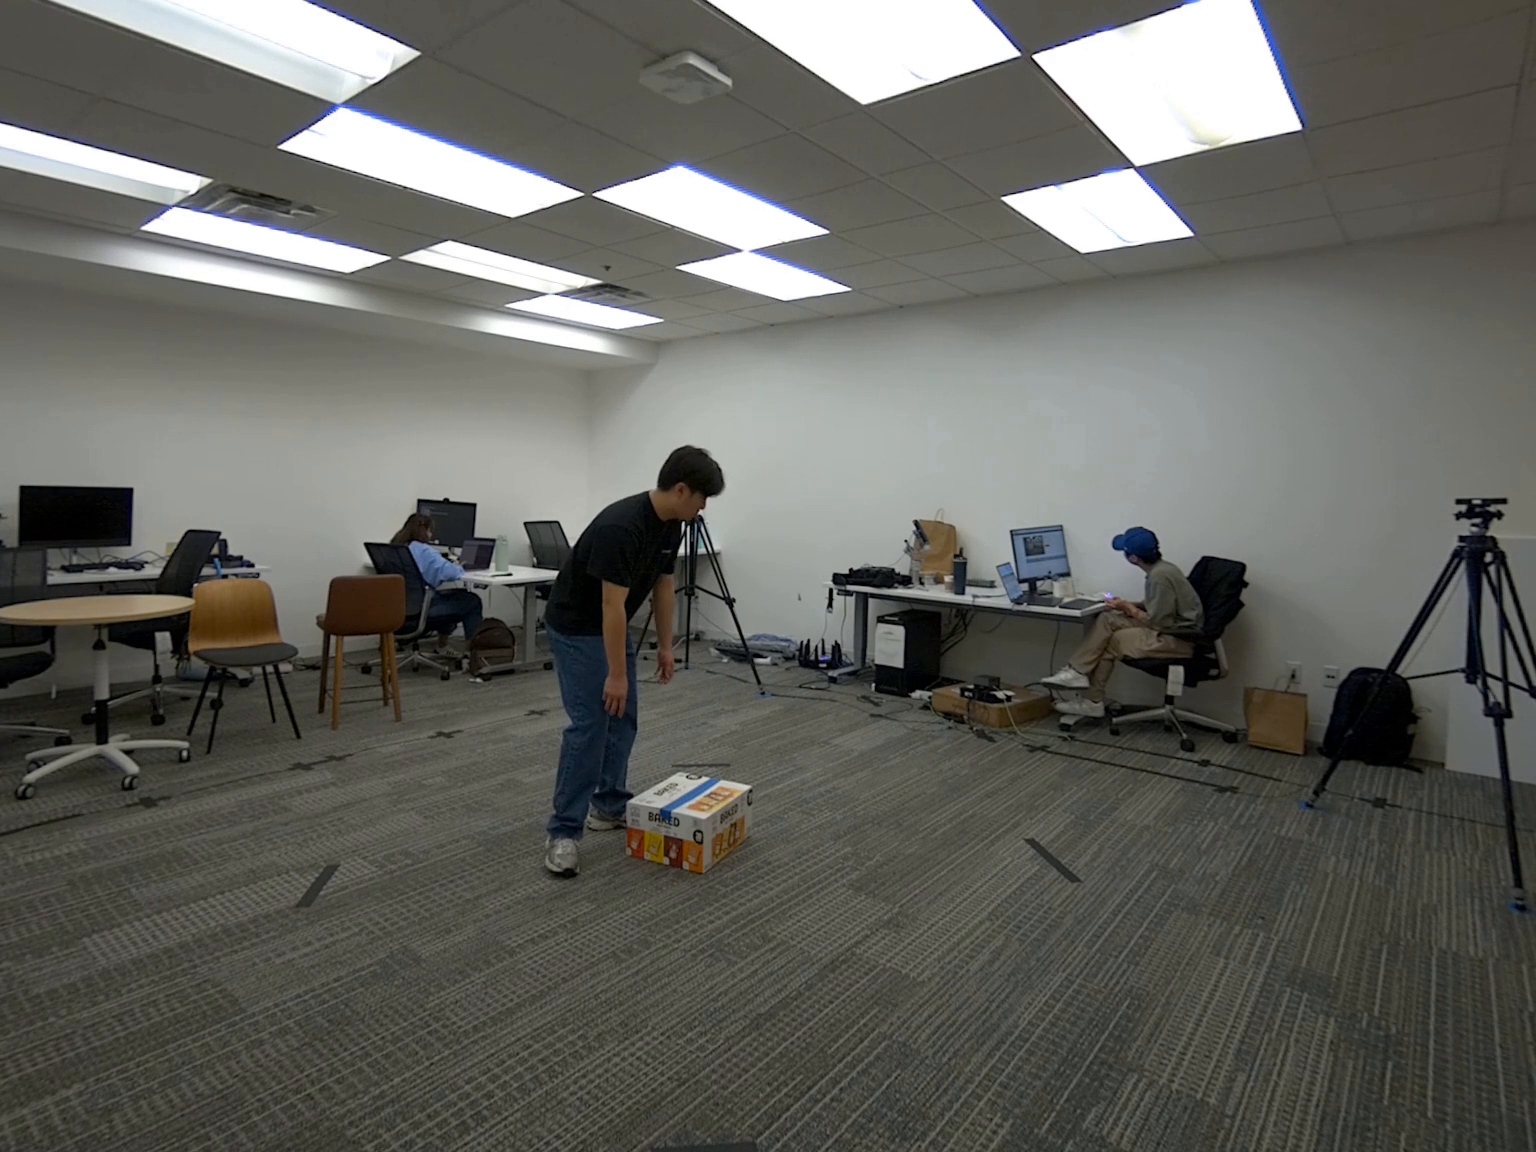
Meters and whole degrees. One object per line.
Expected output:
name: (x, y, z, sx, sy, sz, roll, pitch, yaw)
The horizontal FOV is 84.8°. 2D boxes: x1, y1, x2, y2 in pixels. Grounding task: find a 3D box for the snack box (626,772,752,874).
snack box: (-0.310, 0.947, 3.315, 0.349, 0.205, 0.396, 3, 6, 26)
